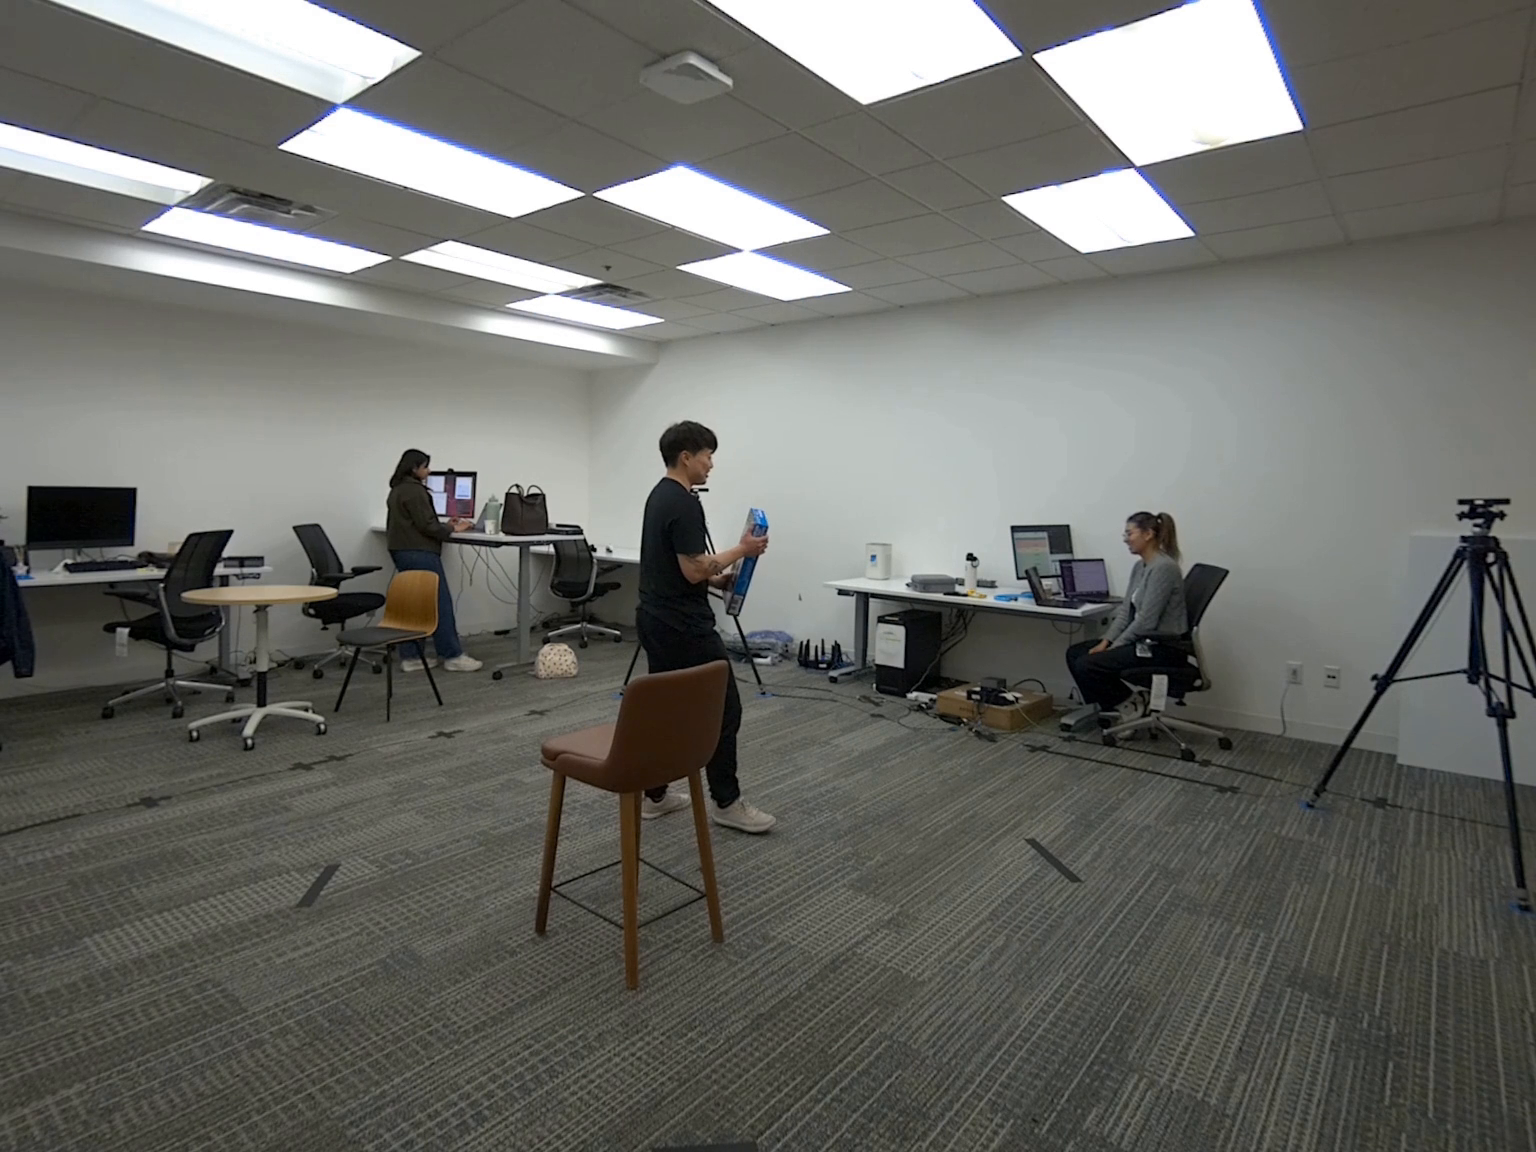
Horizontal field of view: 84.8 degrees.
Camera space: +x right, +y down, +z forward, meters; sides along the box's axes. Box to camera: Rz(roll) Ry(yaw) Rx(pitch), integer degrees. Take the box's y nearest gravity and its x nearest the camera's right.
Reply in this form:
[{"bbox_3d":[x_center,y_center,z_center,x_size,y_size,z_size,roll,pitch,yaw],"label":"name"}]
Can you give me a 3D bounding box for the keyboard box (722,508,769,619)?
[{"bbox_3d":[-0.106,-0.060,3.622,0.058,0.431,0.181,13,22,-14],"label":"keyboard box"}]
